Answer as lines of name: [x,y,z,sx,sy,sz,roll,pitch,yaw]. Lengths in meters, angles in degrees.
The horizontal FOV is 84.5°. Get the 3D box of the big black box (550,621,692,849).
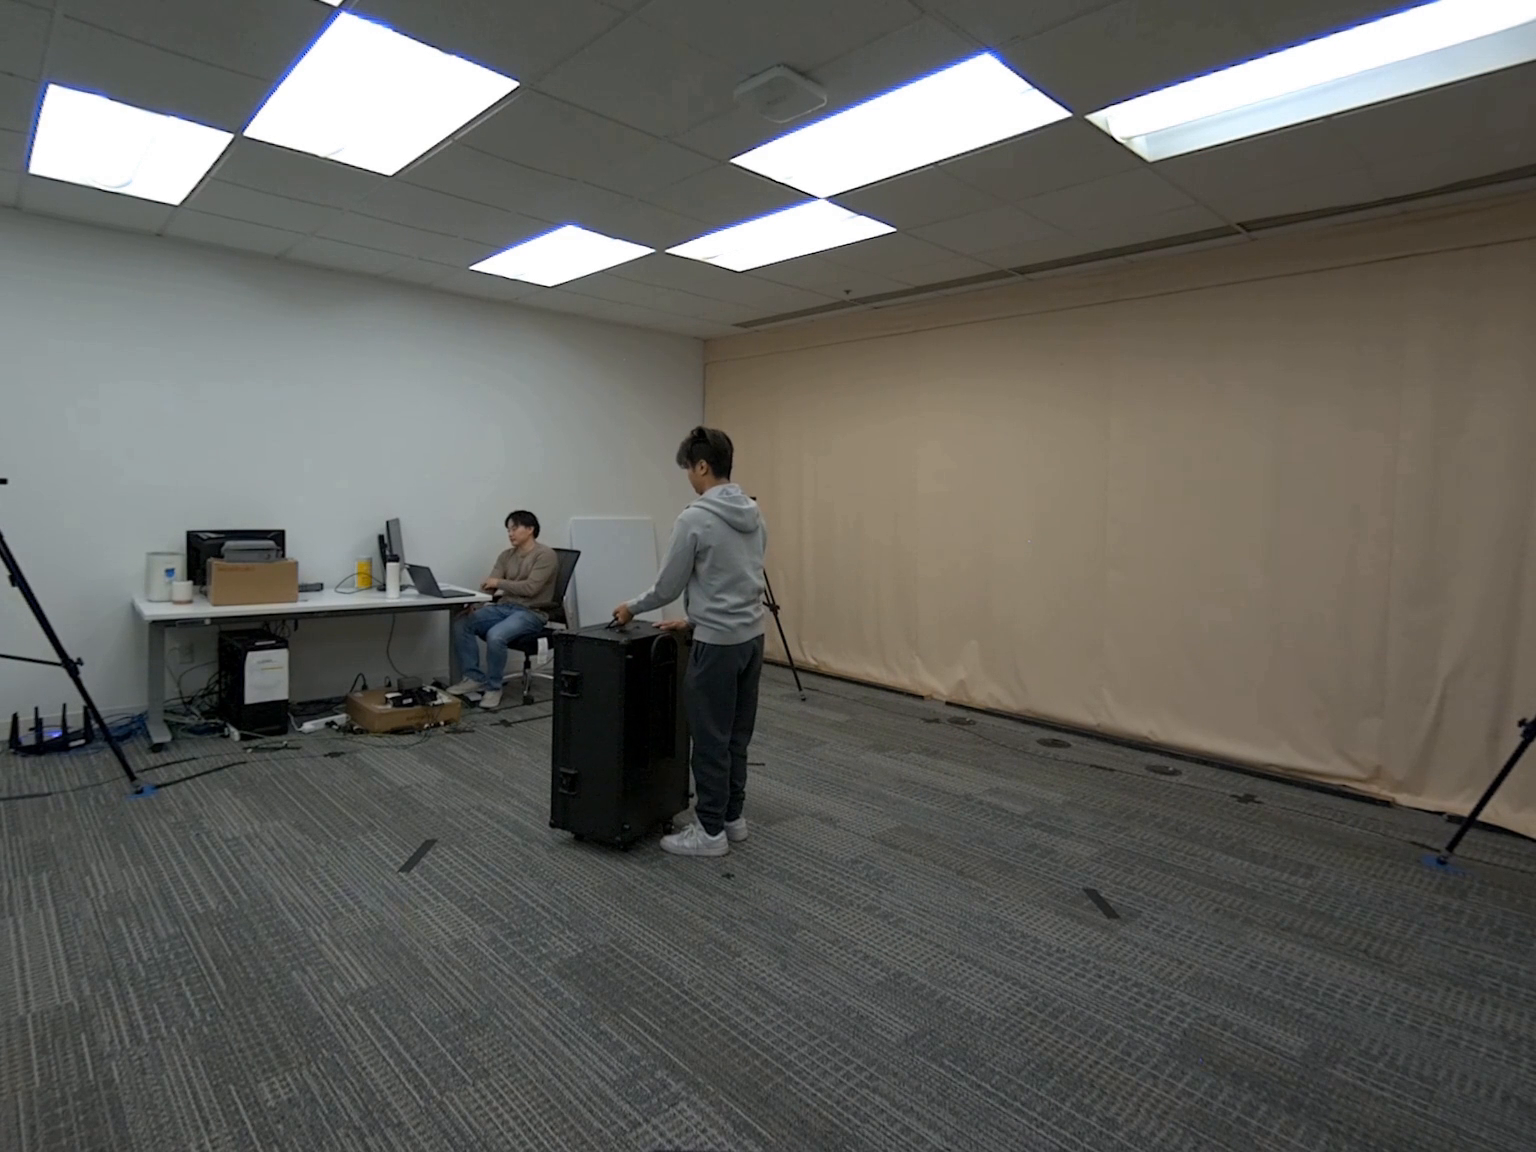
big black box: [-0.583,0.635,3.445,0.405,0.859,0.511,4,4,28]
